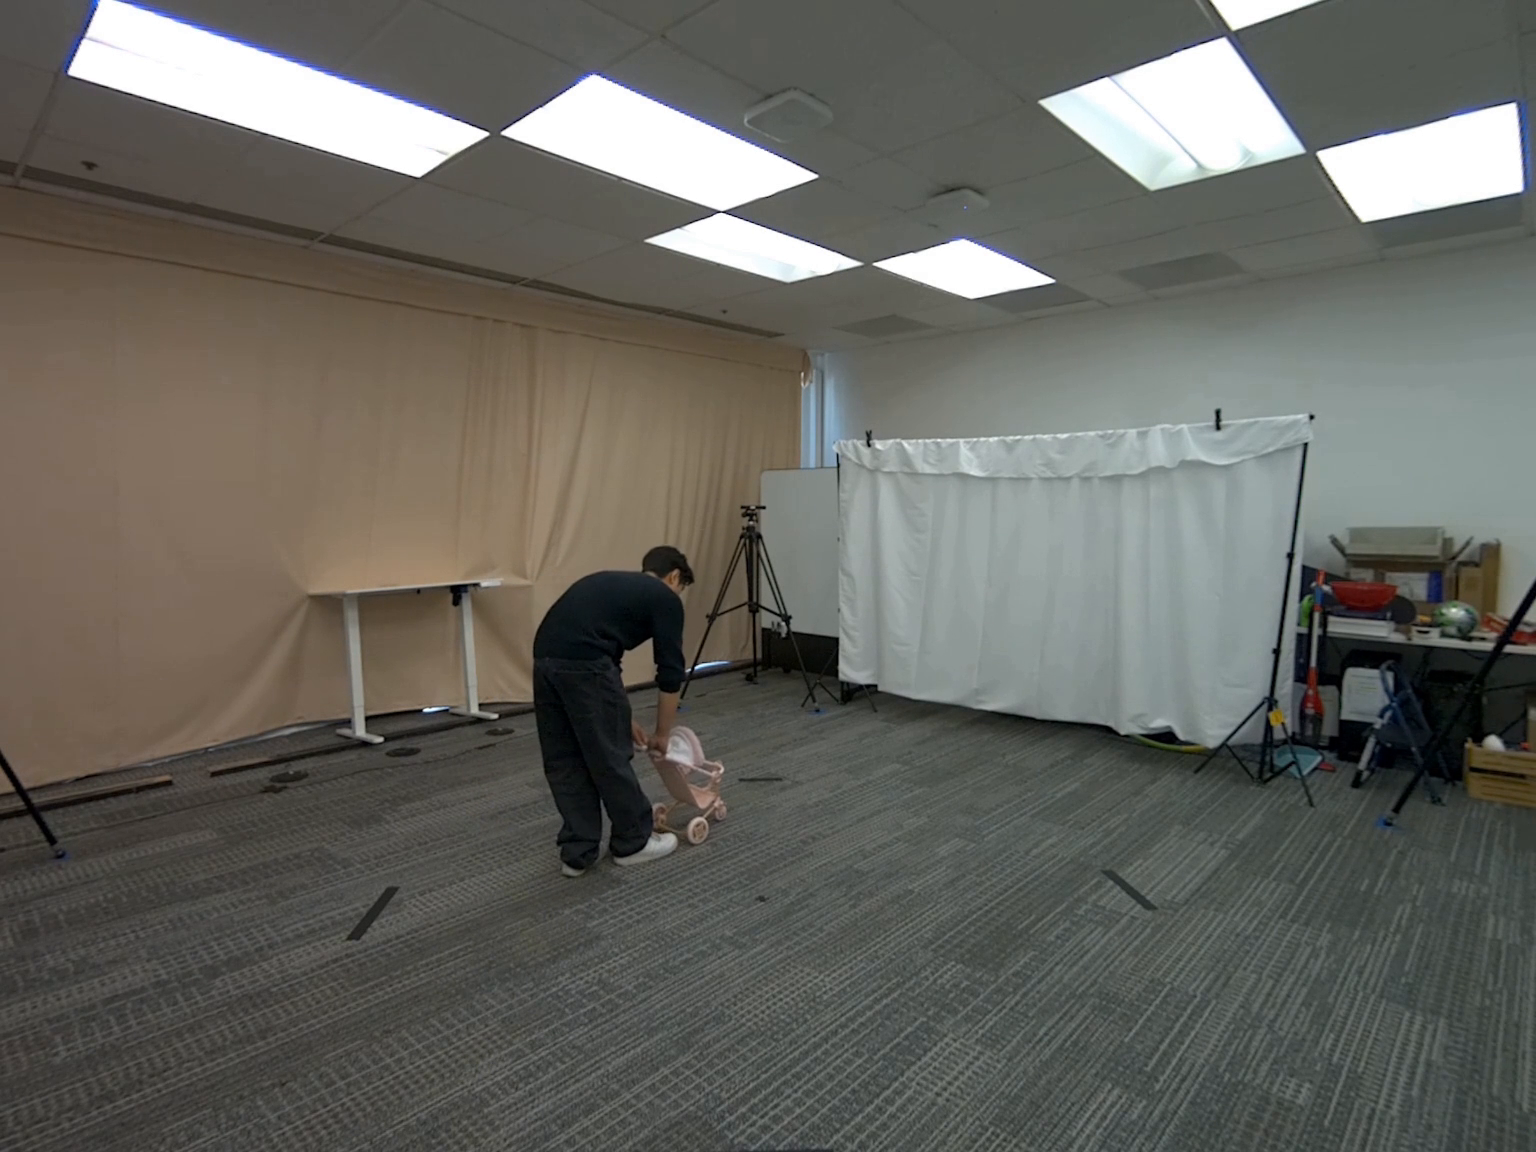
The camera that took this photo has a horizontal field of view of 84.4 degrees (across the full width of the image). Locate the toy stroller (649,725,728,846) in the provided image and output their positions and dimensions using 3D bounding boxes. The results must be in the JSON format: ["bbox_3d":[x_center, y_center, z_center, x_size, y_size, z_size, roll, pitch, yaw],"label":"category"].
[{"bbox_3d":[-0.344,0.874,3.592,0.334,0.528,0.291,-25,19,-39],"label":"toy stroller"}]
